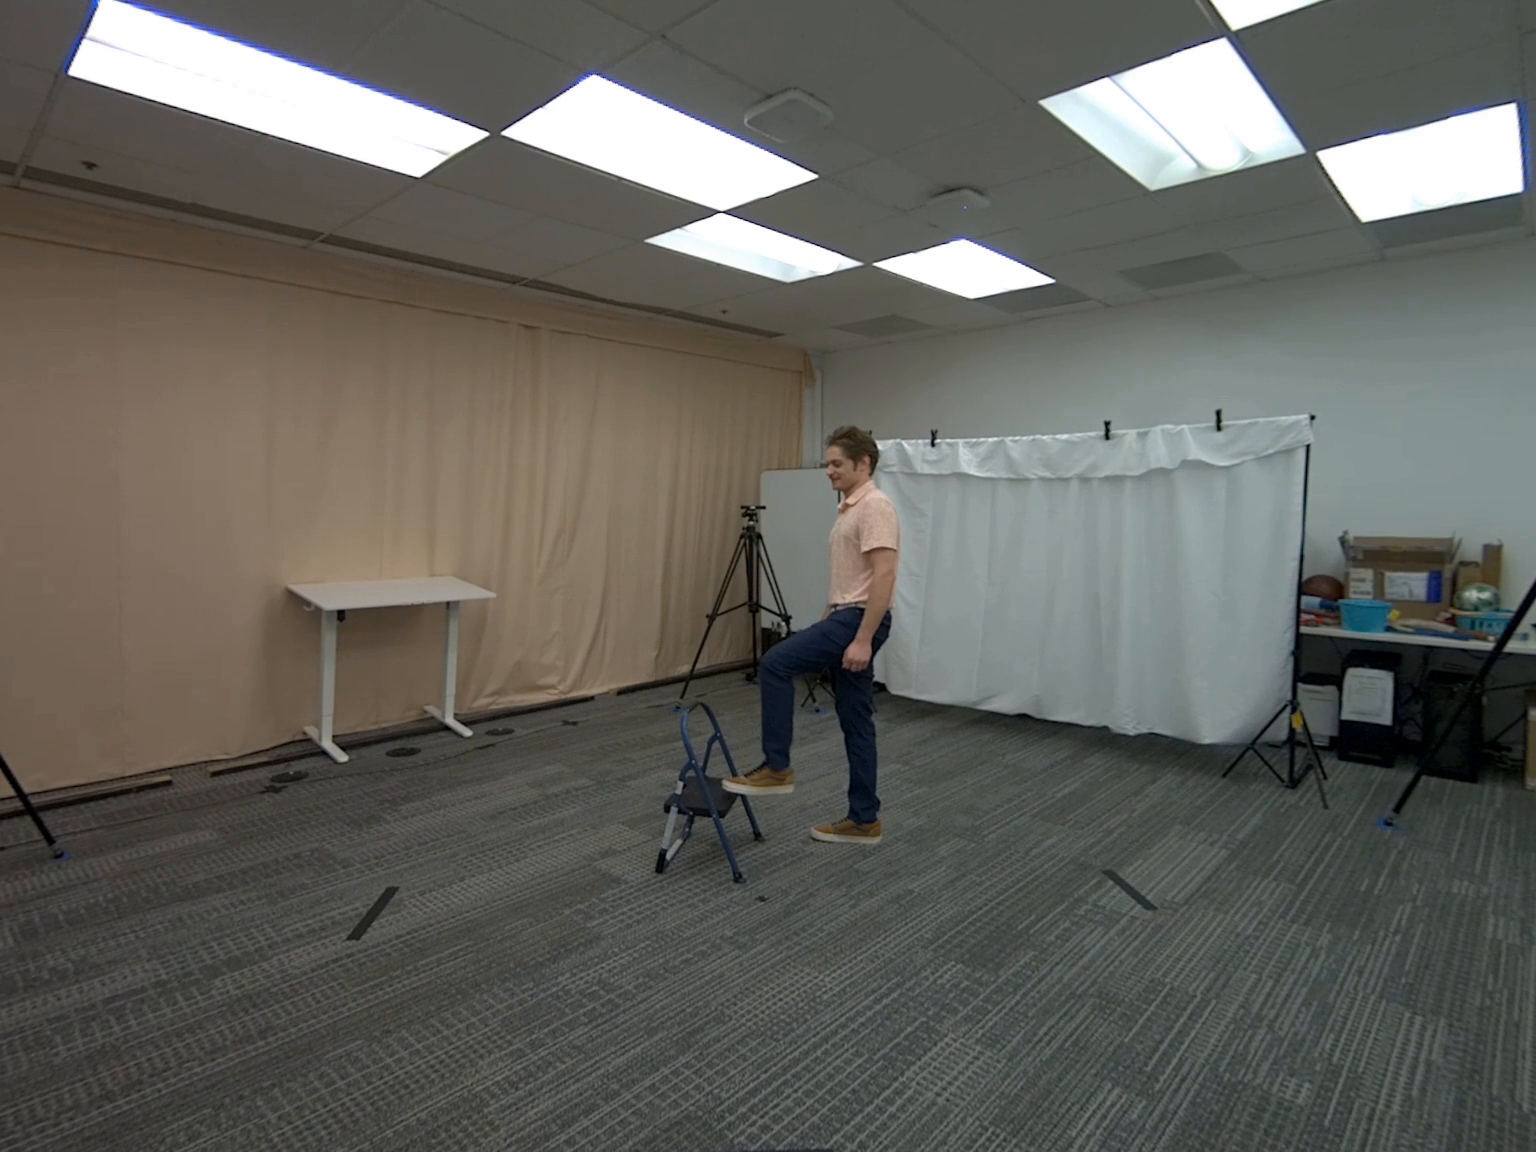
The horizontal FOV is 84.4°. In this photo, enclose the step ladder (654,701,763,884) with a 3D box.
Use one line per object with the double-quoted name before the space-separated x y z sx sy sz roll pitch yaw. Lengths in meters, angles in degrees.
"step ladder" -0.225 0.815 3.336 0.354 0.605 0.426 0 3 12
